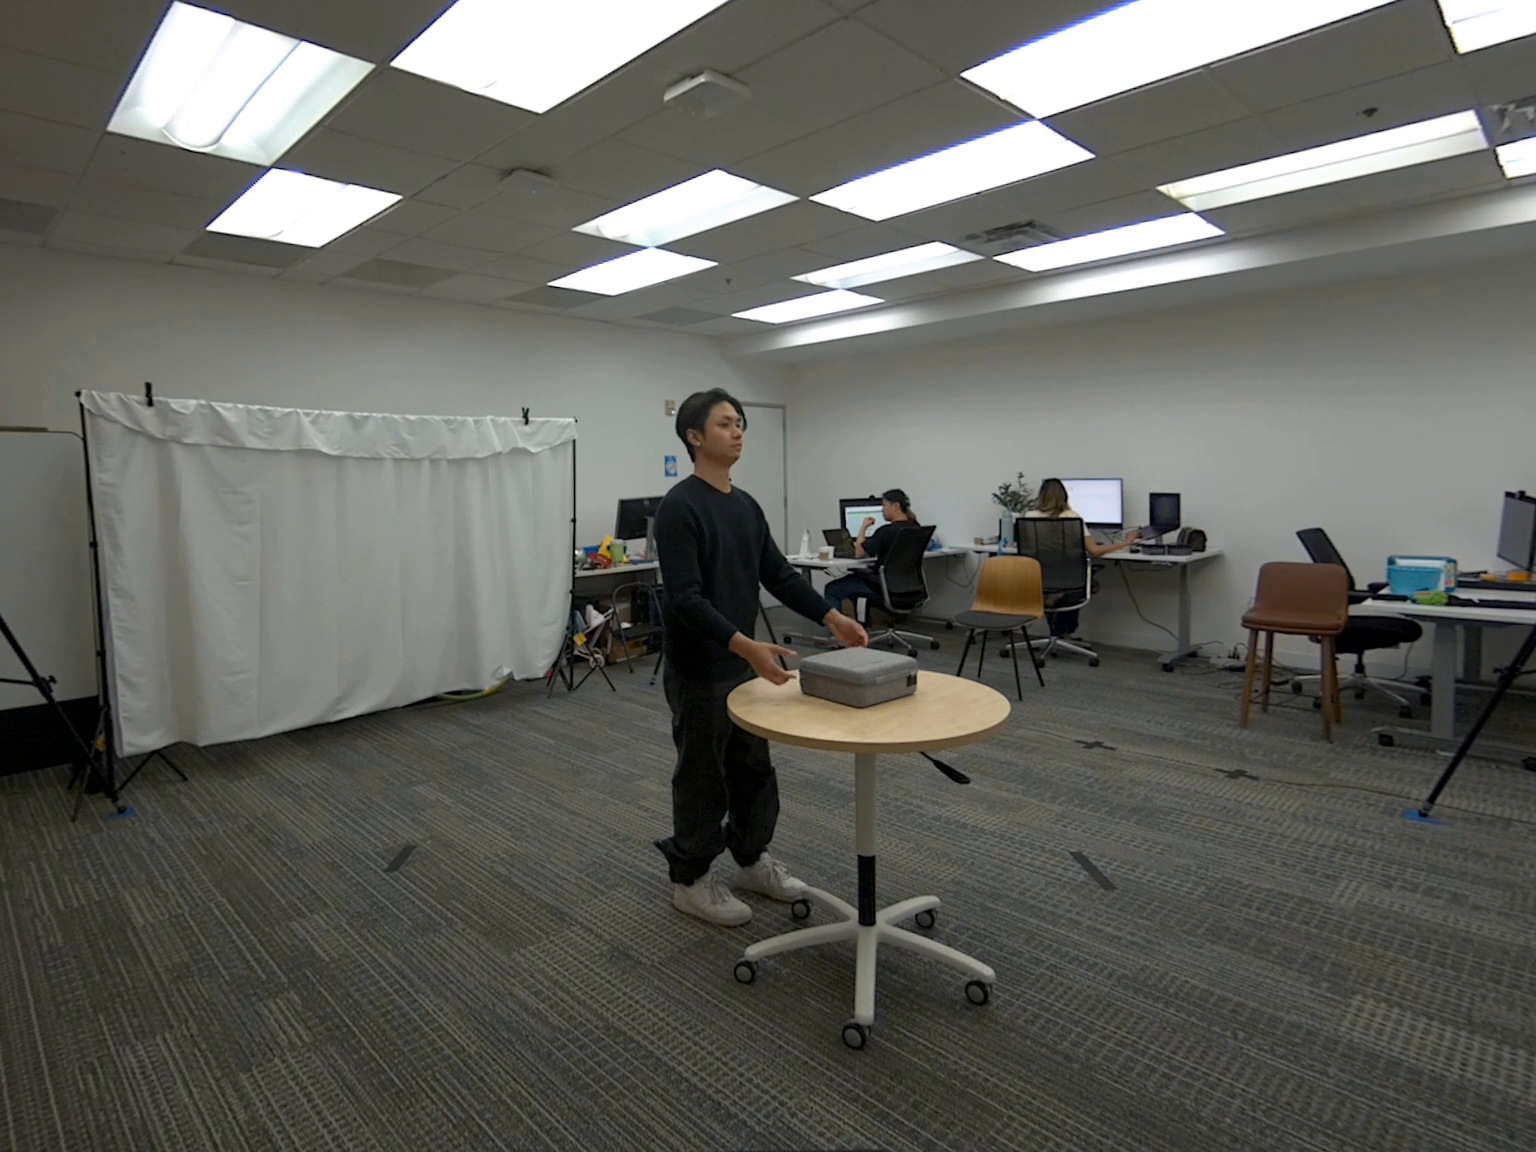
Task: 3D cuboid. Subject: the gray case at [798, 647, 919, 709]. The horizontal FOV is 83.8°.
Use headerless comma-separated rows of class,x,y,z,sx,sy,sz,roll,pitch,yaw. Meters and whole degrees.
gray case,0.260,0.285,2.402,0.250,0.104,0.269,-8,9,-41
